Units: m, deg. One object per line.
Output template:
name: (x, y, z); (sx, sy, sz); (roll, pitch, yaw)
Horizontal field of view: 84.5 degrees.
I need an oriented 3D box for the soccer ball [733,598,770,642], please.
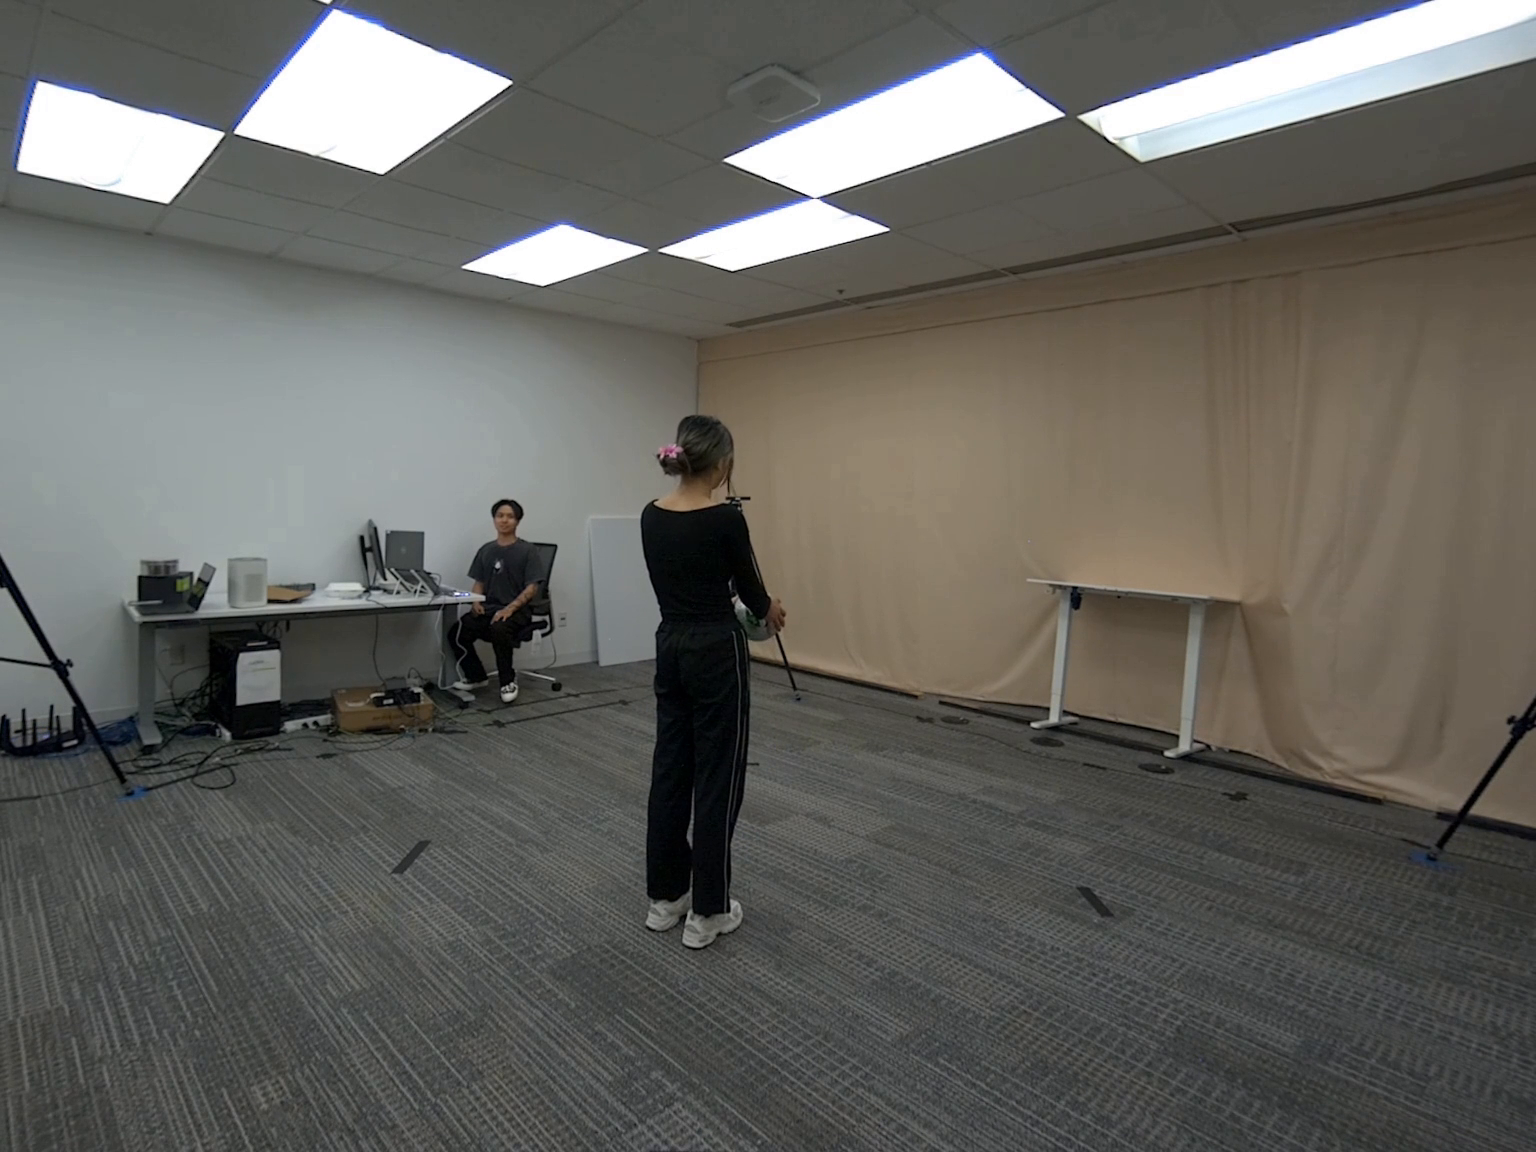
soccer ball: (-0.043, 0.145, 3.077); (0.187, 0.187, 0.188); (1, 4, -1)
